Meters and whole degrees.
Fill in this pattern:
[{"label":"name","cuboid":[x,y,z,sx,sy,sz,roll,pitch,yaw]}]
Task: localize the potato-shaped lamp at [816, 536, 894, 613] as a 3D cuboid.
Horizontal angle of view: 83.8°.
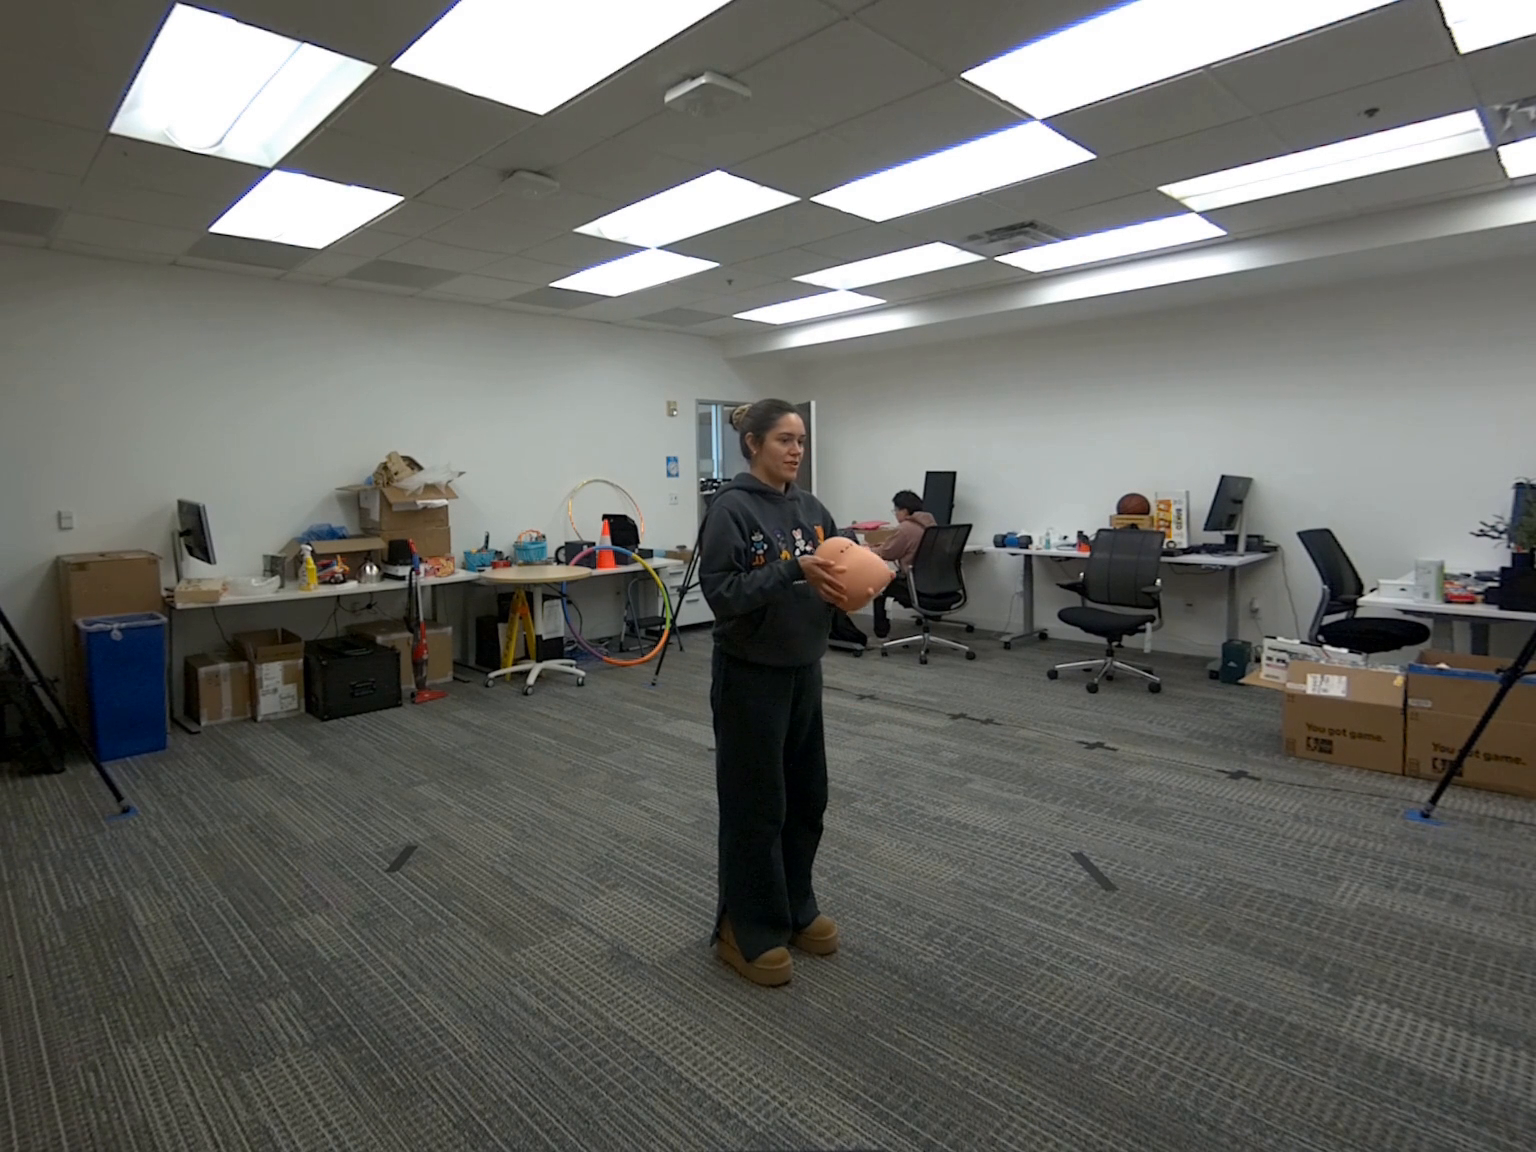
[{"label":"potato-shaped lamp","cuboid":[0.200,-0.010,2.223,0.163,0.201,0.170,-33,-13,-37]}]
